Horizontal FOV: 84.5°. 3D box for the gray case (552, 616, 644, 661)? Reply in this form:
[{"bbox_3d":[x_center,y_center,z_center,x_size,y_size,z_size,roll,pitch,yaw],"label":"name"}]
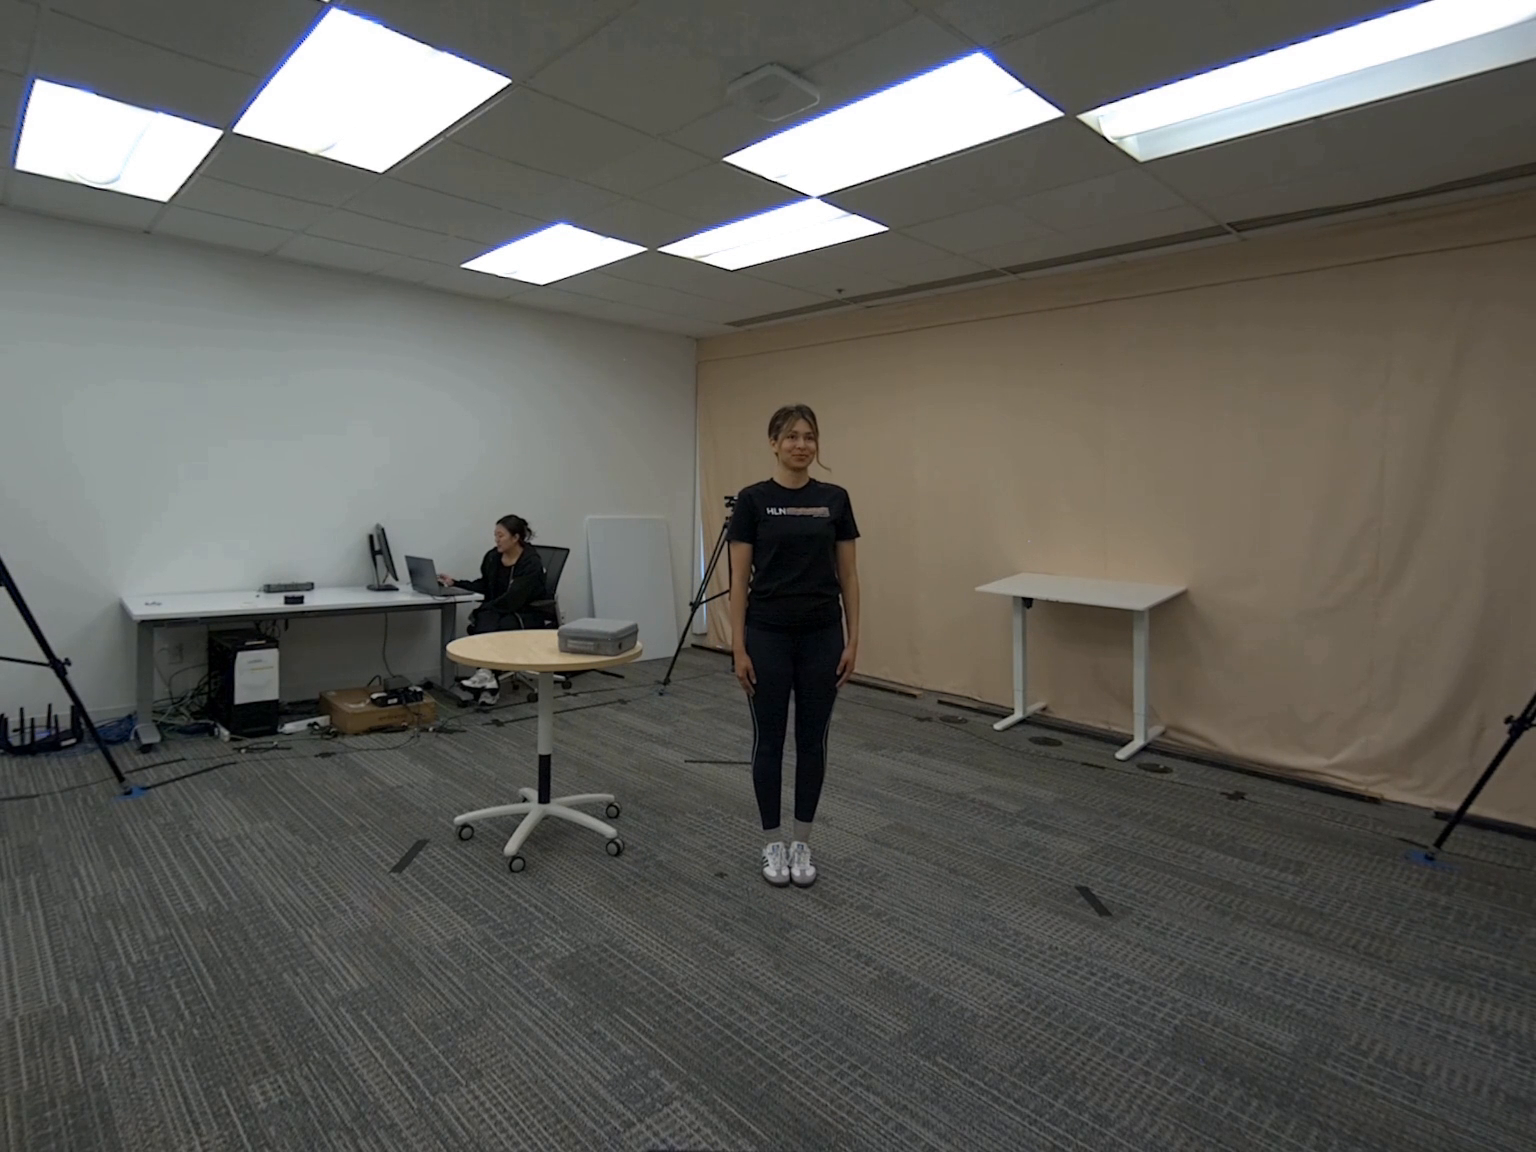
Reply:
[{"bbox_3d":[-0.662,0.239,3.309,0.260,0.104,0.258,5,6,15],"label":"gray case"}]
